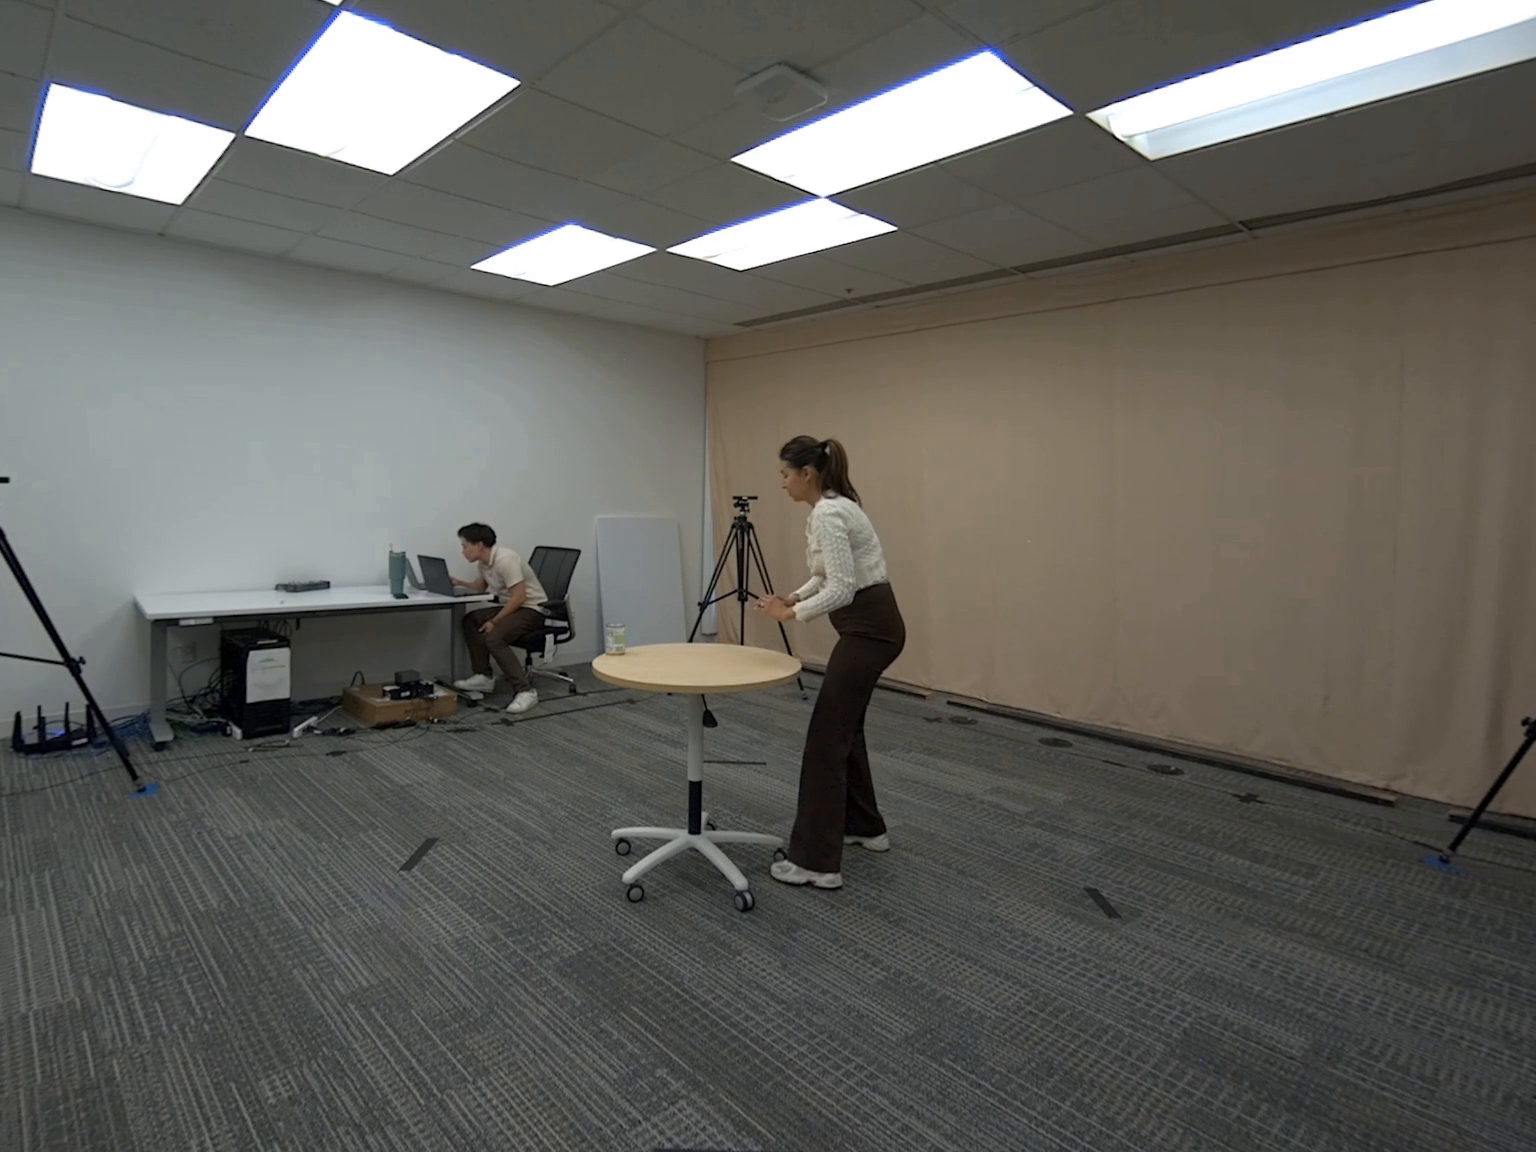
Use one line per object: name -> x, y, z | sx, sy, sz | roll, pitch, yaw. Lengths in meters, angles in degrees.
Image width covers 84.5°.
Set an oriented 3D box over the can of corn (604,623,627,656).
can of corn -> -0.586, 0.244, 3.215 | 0.074, 0.111, 0.074 | -2, -1, -1
